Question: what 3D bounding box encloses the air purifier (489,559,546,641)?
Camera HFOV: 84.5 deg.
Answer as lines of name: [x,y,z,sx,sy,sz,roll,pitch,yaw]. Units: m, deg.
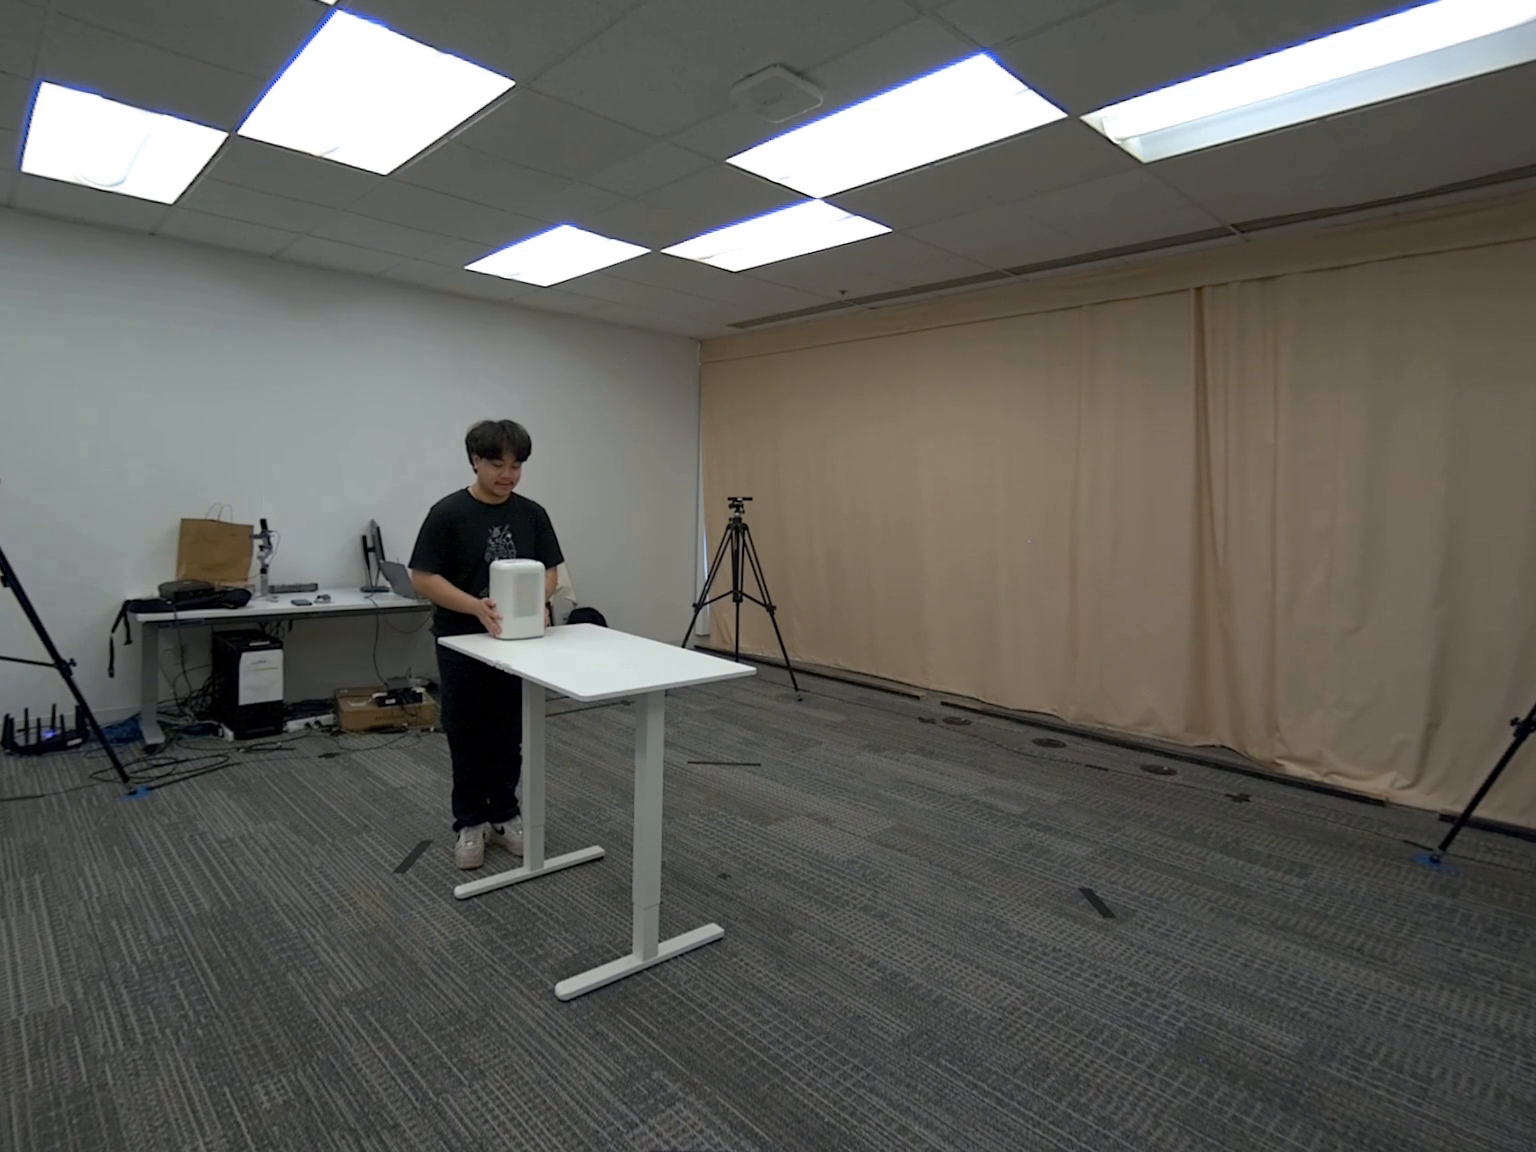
air purifier: [-0.908,0.076,2.983,0.168,0.264,0.175,-2,7,-38]
